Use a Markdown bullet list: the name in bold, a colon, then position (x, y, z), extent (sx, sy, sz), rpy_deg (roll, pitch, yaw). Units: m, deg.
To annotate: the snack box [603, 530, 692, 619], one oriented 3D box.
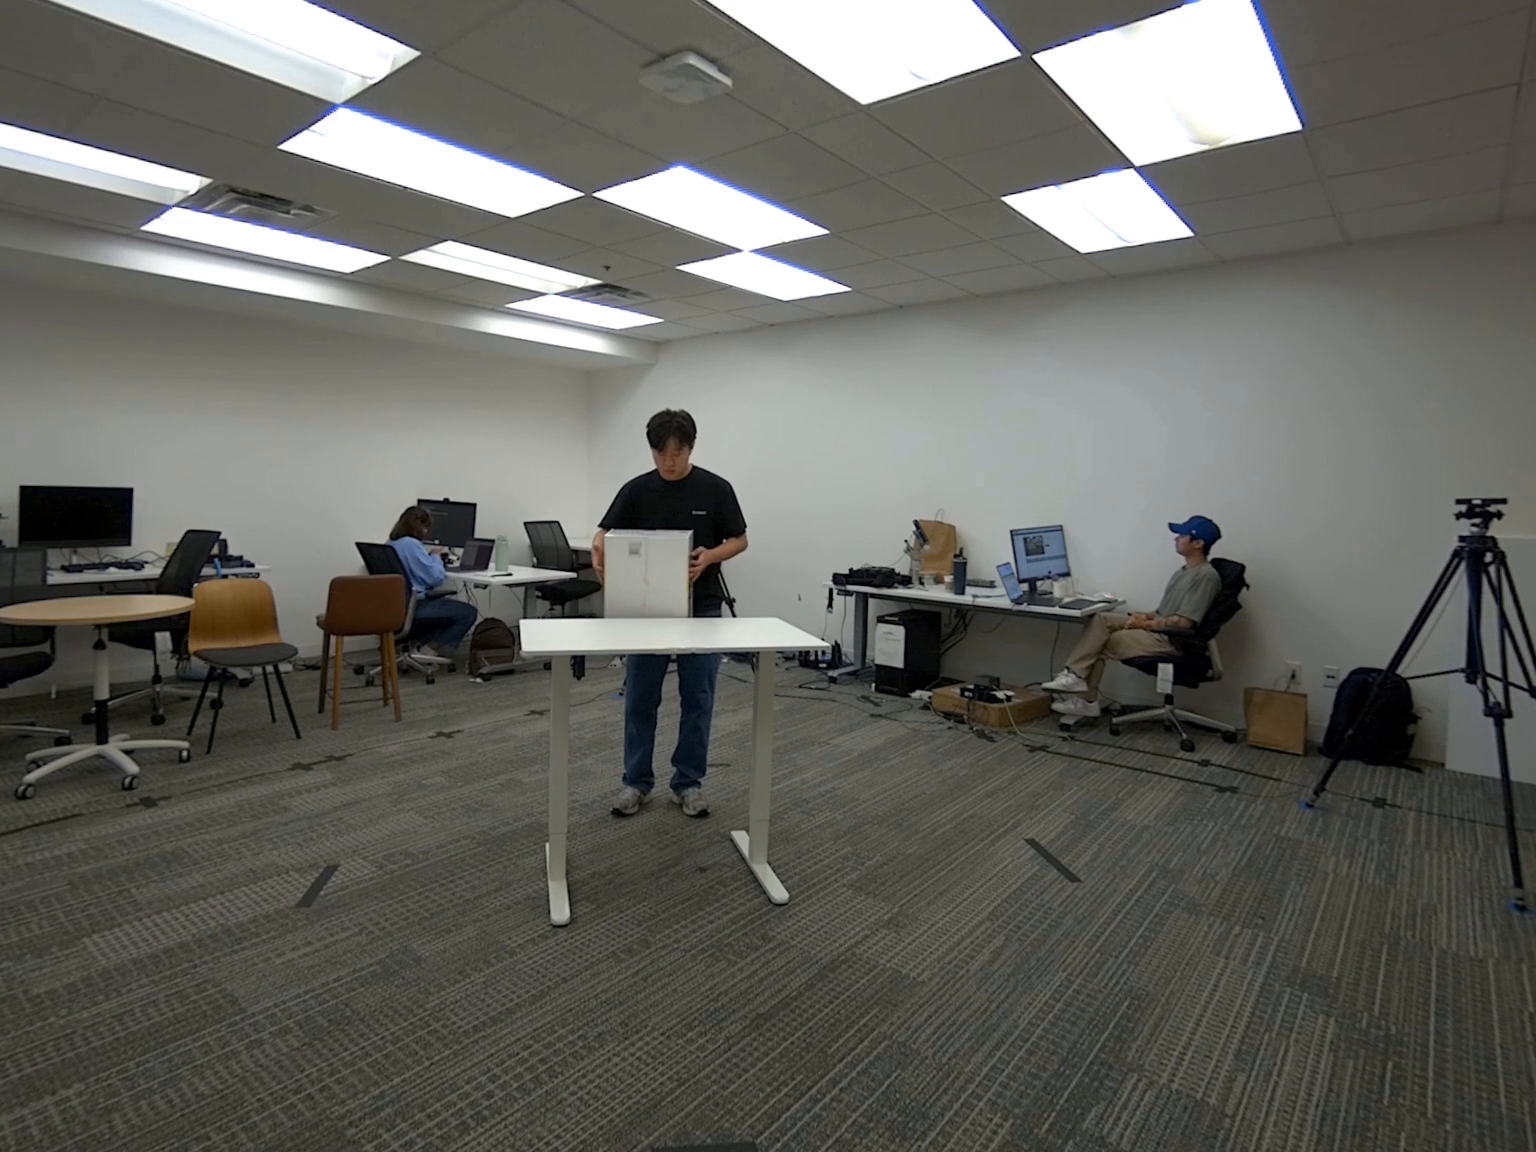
- **snack box**: position (-0.496, 0.019, 3.433), extent (0.340, 0.402, 0.207), rpy_deg (0, 7, 0)
